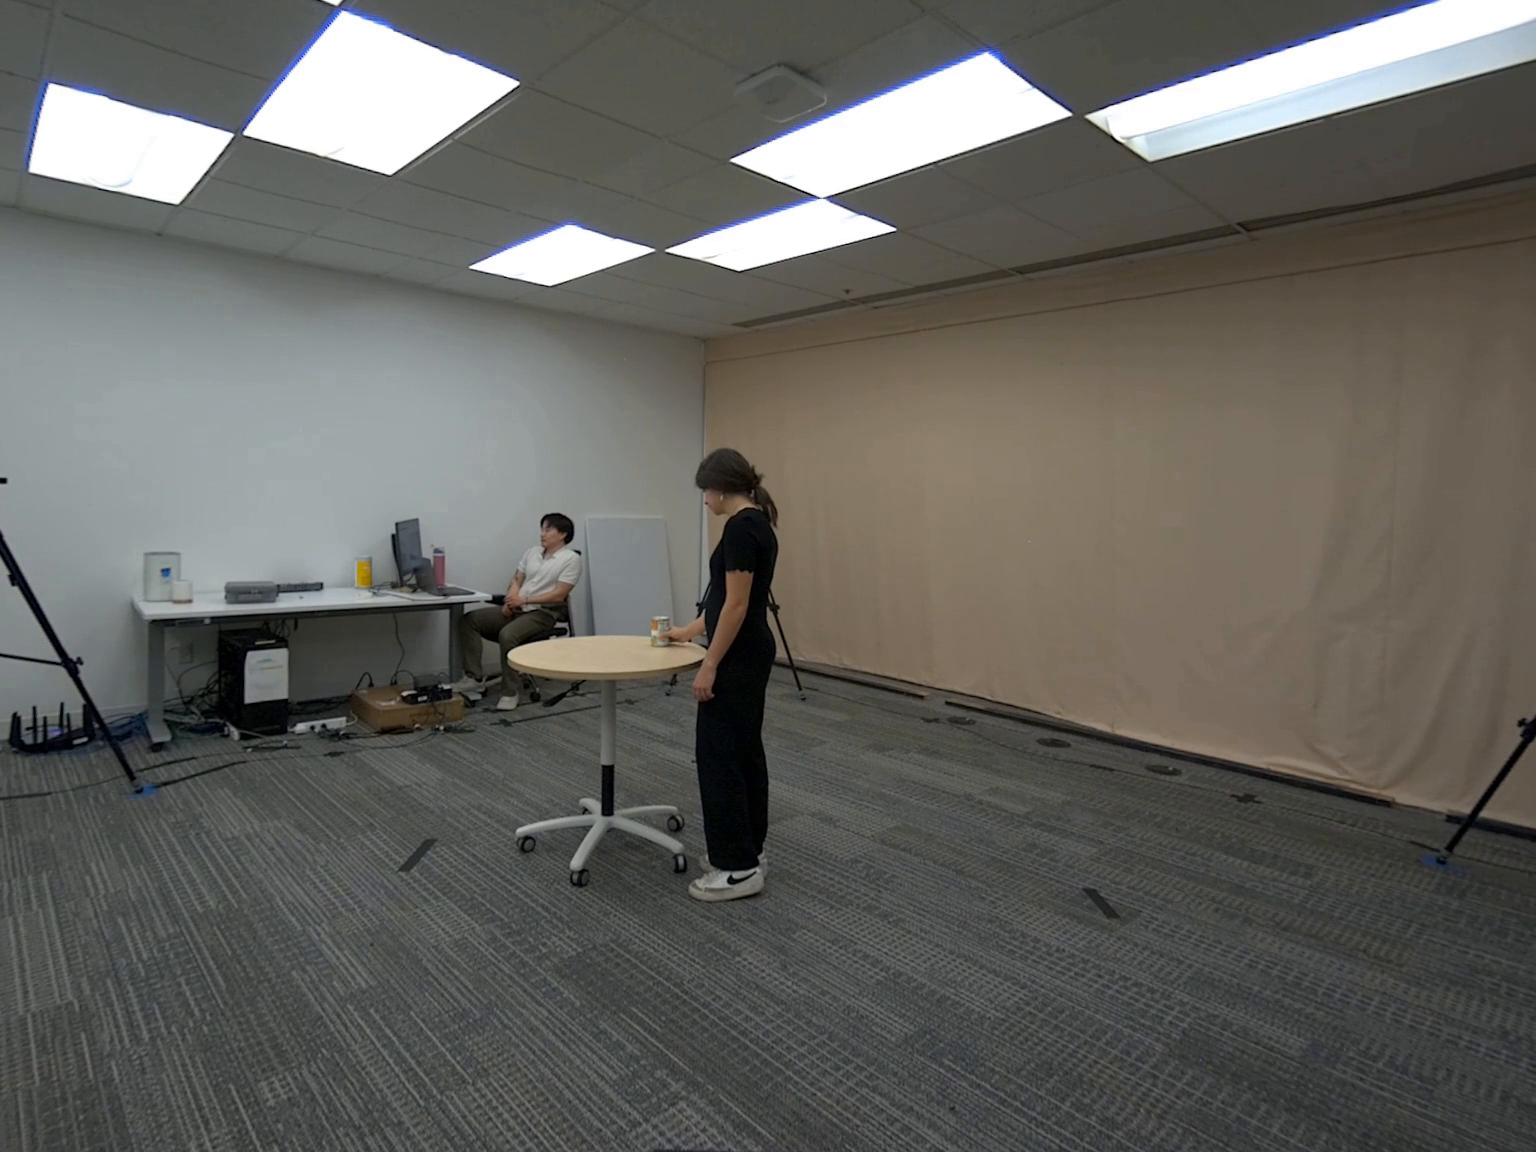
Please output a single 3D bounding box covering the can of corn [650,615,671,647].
[{"bbox_3d":[-0.444,0.225,3.435,0.074,0.111,0.074,0,2,-1],"label":"can of corn"}]
